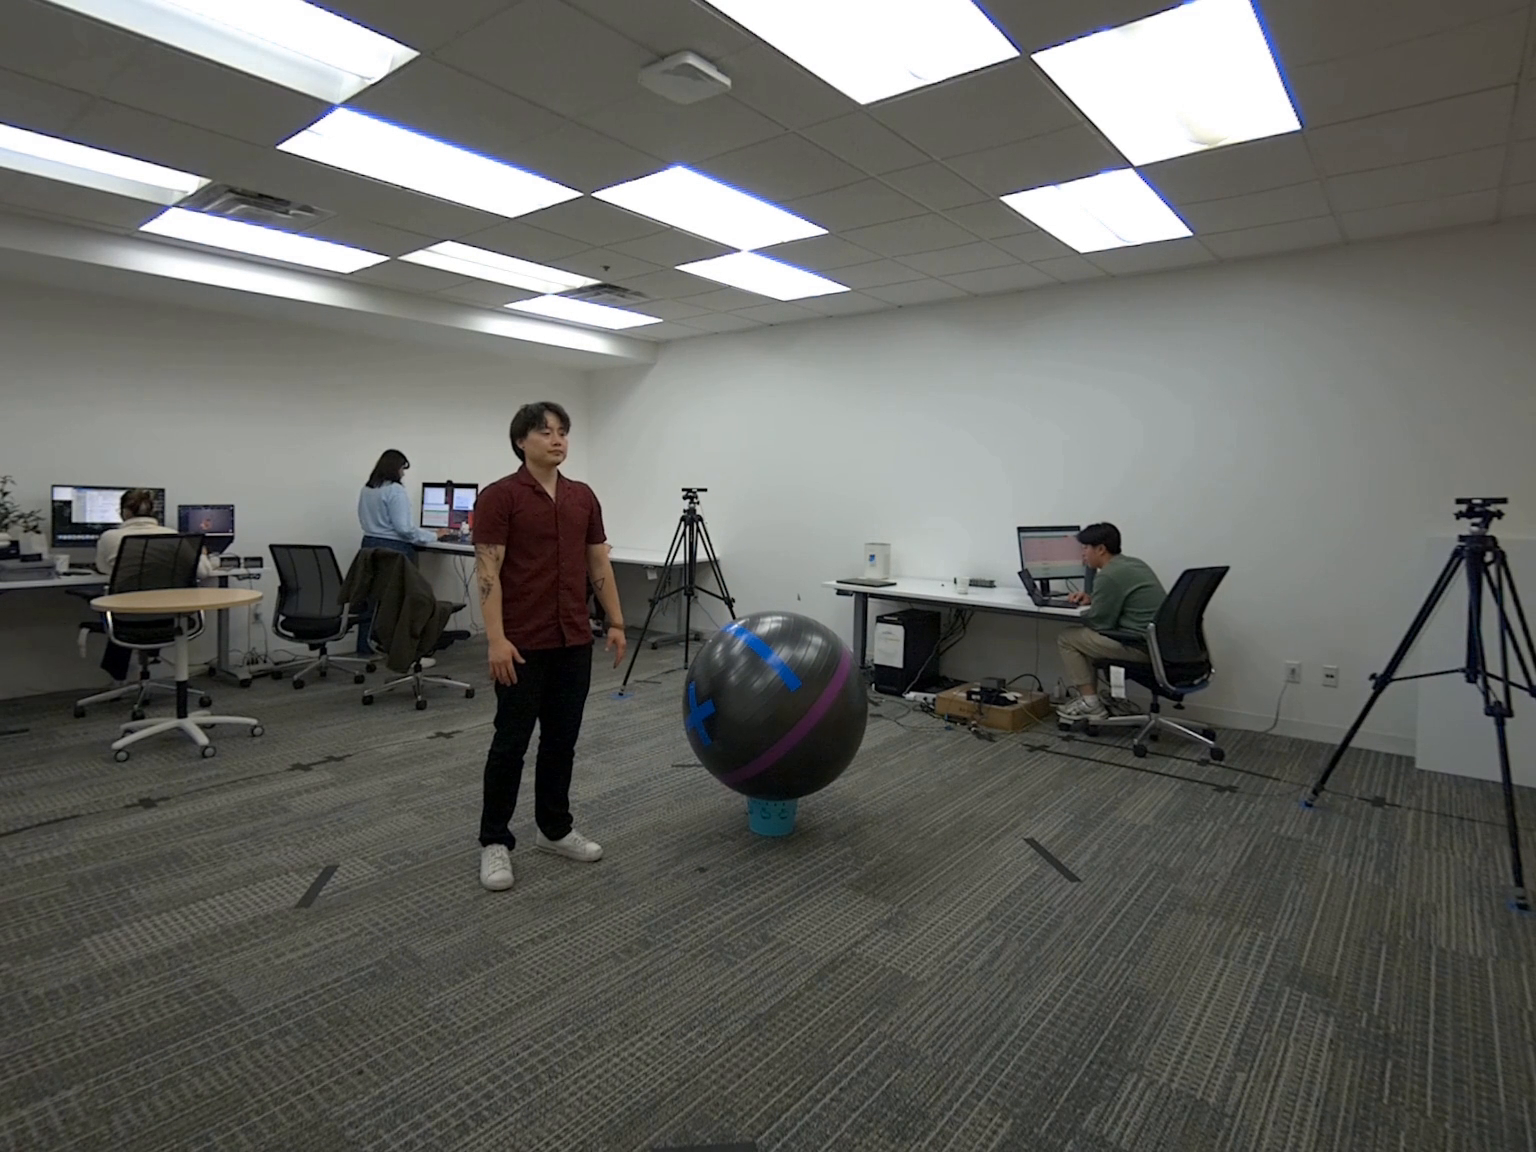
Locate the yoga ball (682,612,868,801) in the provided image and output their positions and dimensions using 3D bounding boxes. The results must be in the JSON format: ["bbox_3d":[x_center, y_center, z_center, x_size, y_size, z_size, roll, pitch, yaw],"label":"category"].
[{"bbox_3d":[0.030,0.528,3.499,0.757,0.755,0.762,1,4,-2],"label":"yoga ball"}]
